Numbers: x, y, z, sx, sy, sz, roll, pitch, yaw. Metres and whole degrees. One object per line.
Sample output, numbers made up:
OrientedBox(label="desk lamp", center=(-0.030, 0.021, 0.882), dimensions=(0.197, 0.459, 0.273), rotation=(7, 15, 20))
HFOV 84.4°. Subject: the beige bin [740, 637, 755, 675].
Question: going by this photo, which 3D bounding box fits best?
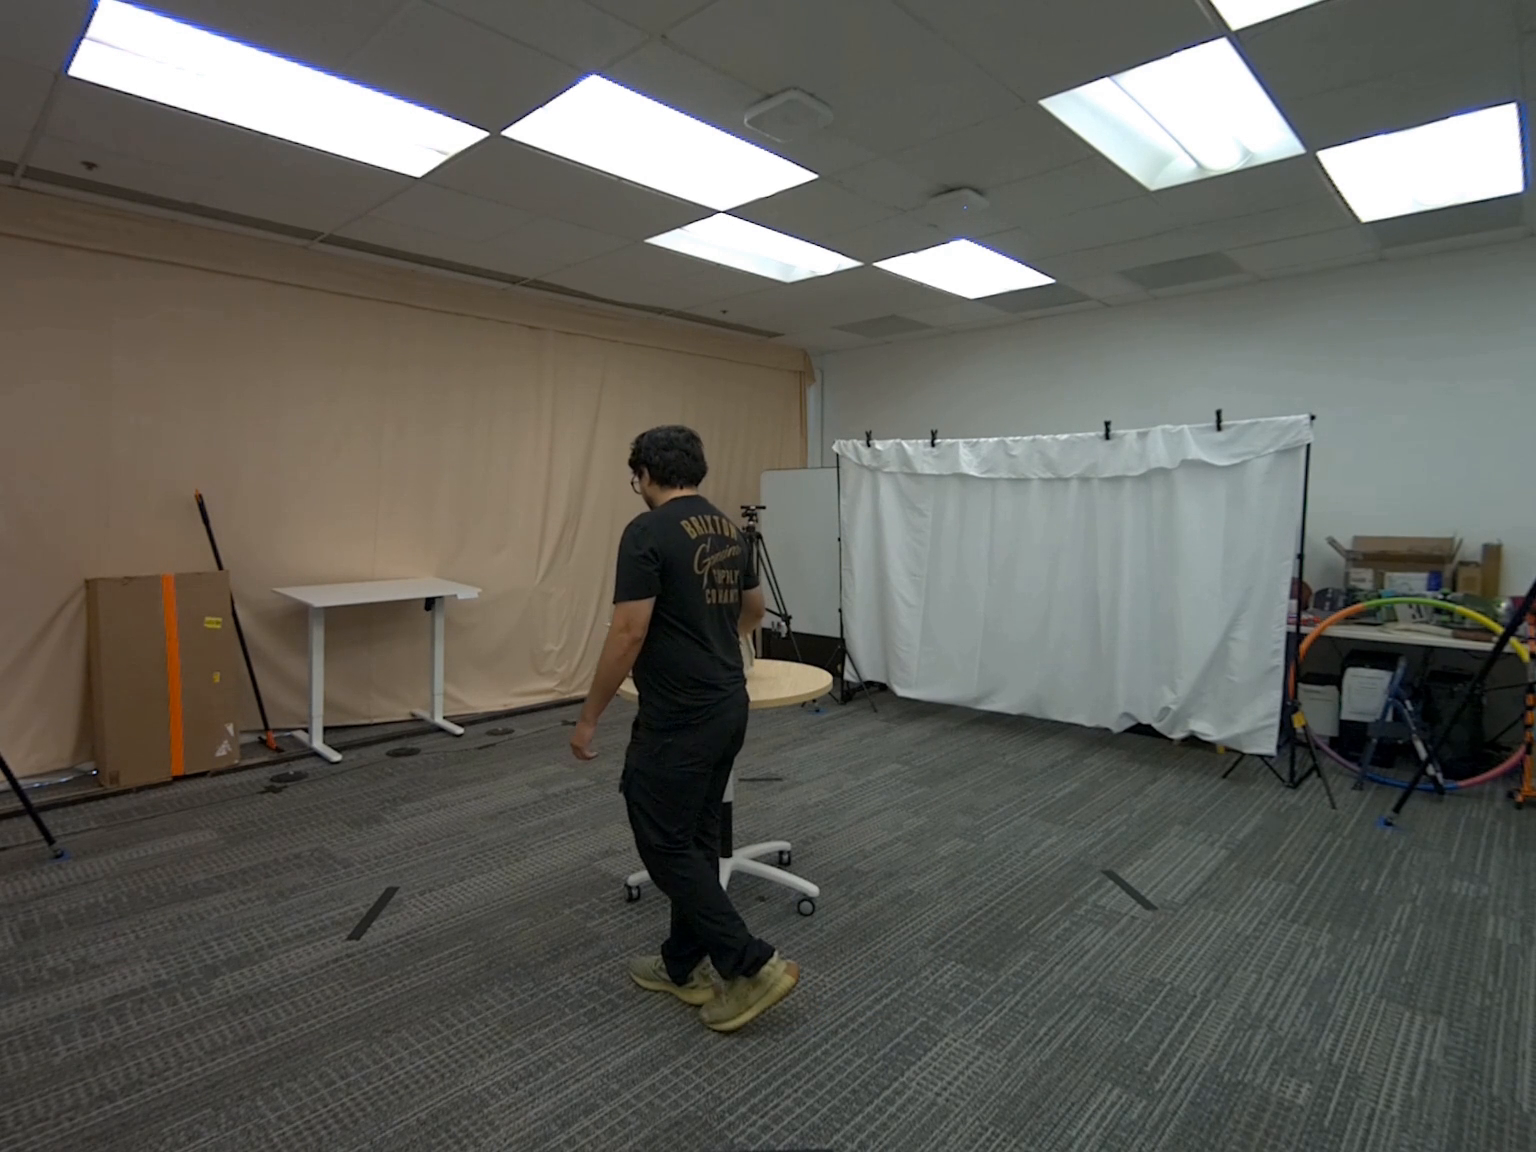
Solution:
OrientedBox(label="beige bin", center=(-0.317, 0.267, 3.041), dimensions=(0.367, 0.188, 0.436), rotation=(-5, 6, -36))
